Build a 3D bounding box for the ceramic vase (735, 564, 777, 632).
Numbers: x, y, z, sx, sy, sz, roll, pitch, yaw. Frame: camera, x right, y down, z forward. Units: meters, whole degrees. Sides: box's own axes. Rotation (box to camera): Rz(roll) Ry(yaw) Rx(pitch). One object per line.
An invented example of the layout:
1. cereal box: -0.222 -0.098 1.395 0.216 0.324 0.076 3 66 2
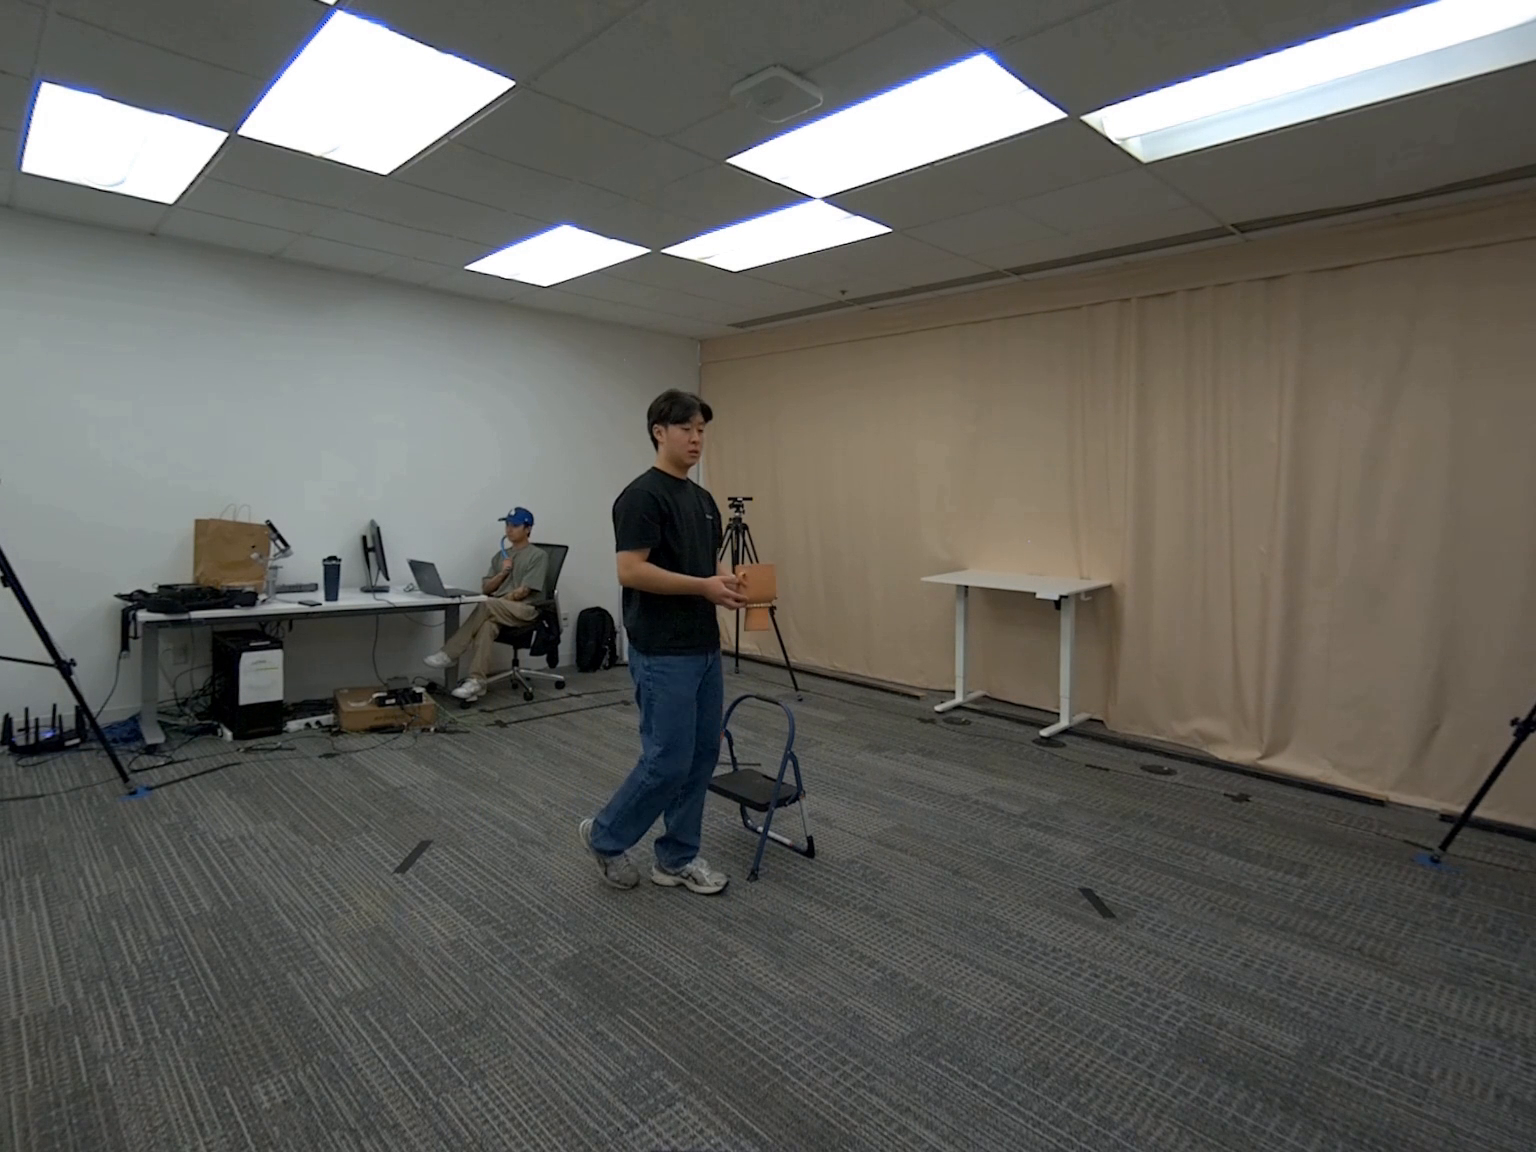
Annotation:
1. ceramic vase: -0.052 0.074 2.819 0.157 0.220 0.136 -2 -4 -16
